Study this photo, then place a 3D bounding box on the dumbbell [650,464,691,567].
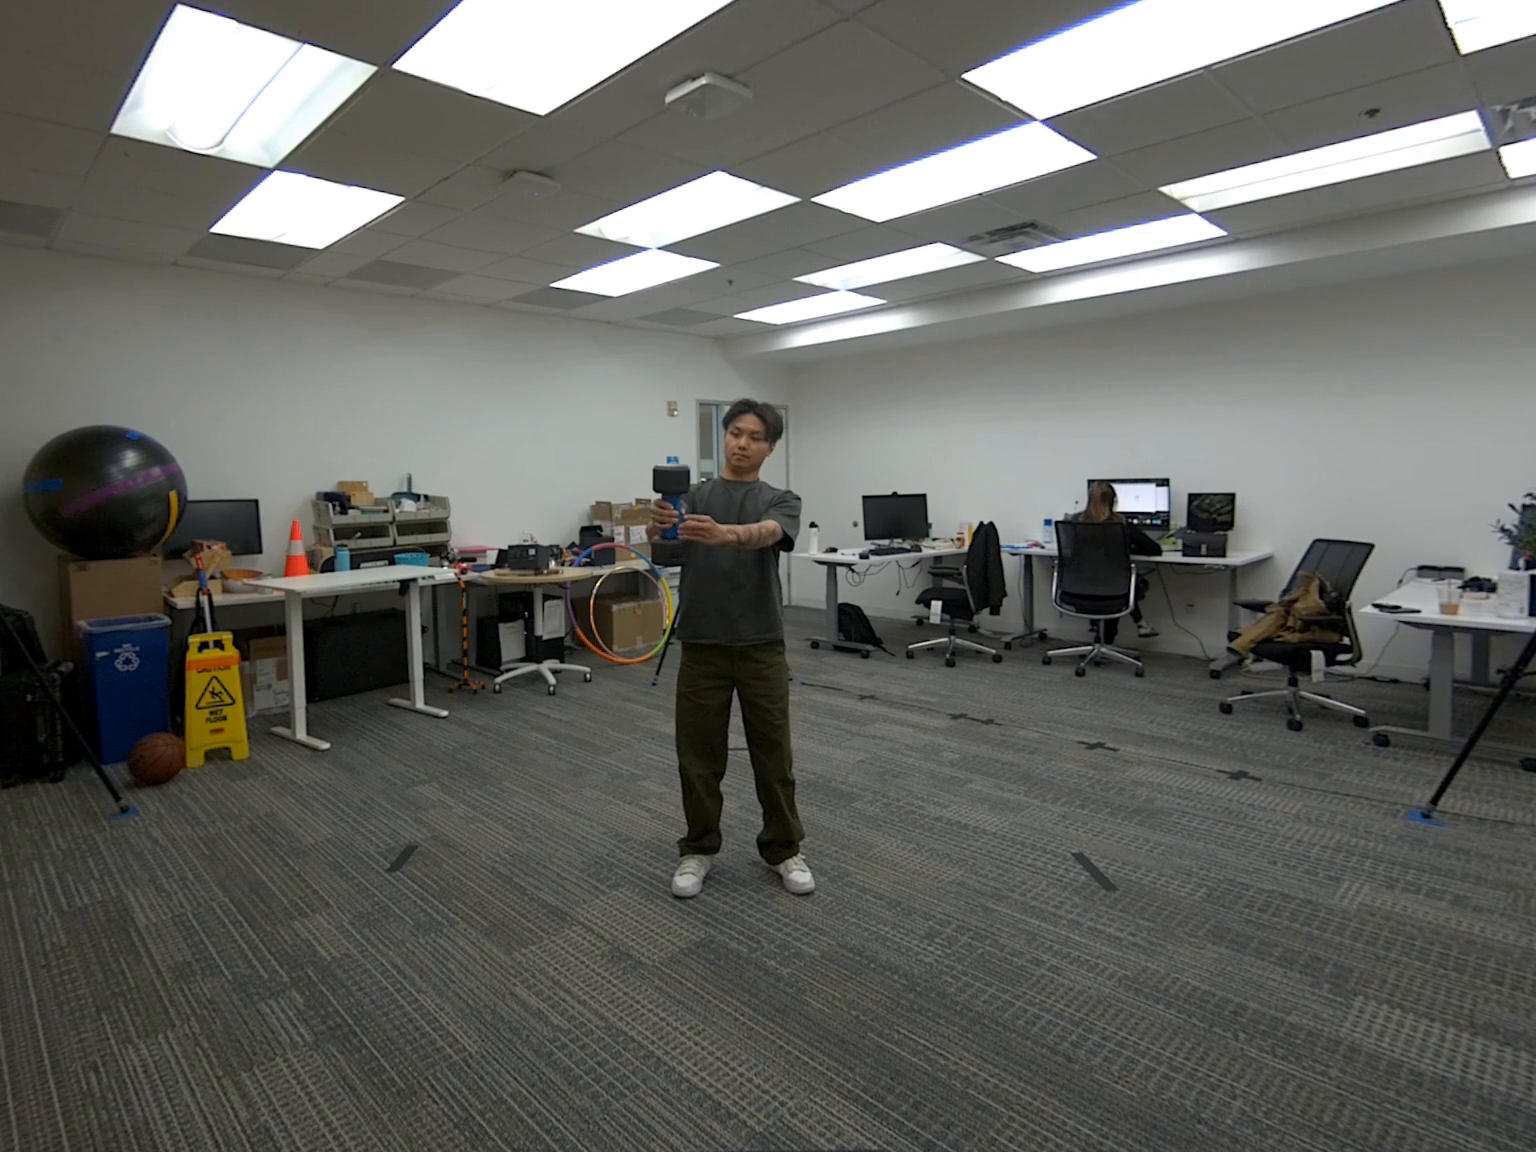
[{"bbox_3d":[-0.285,-0.174,2.482,0.126,0.291,0.107,6,11,23],"label":"dumbbell"}]
